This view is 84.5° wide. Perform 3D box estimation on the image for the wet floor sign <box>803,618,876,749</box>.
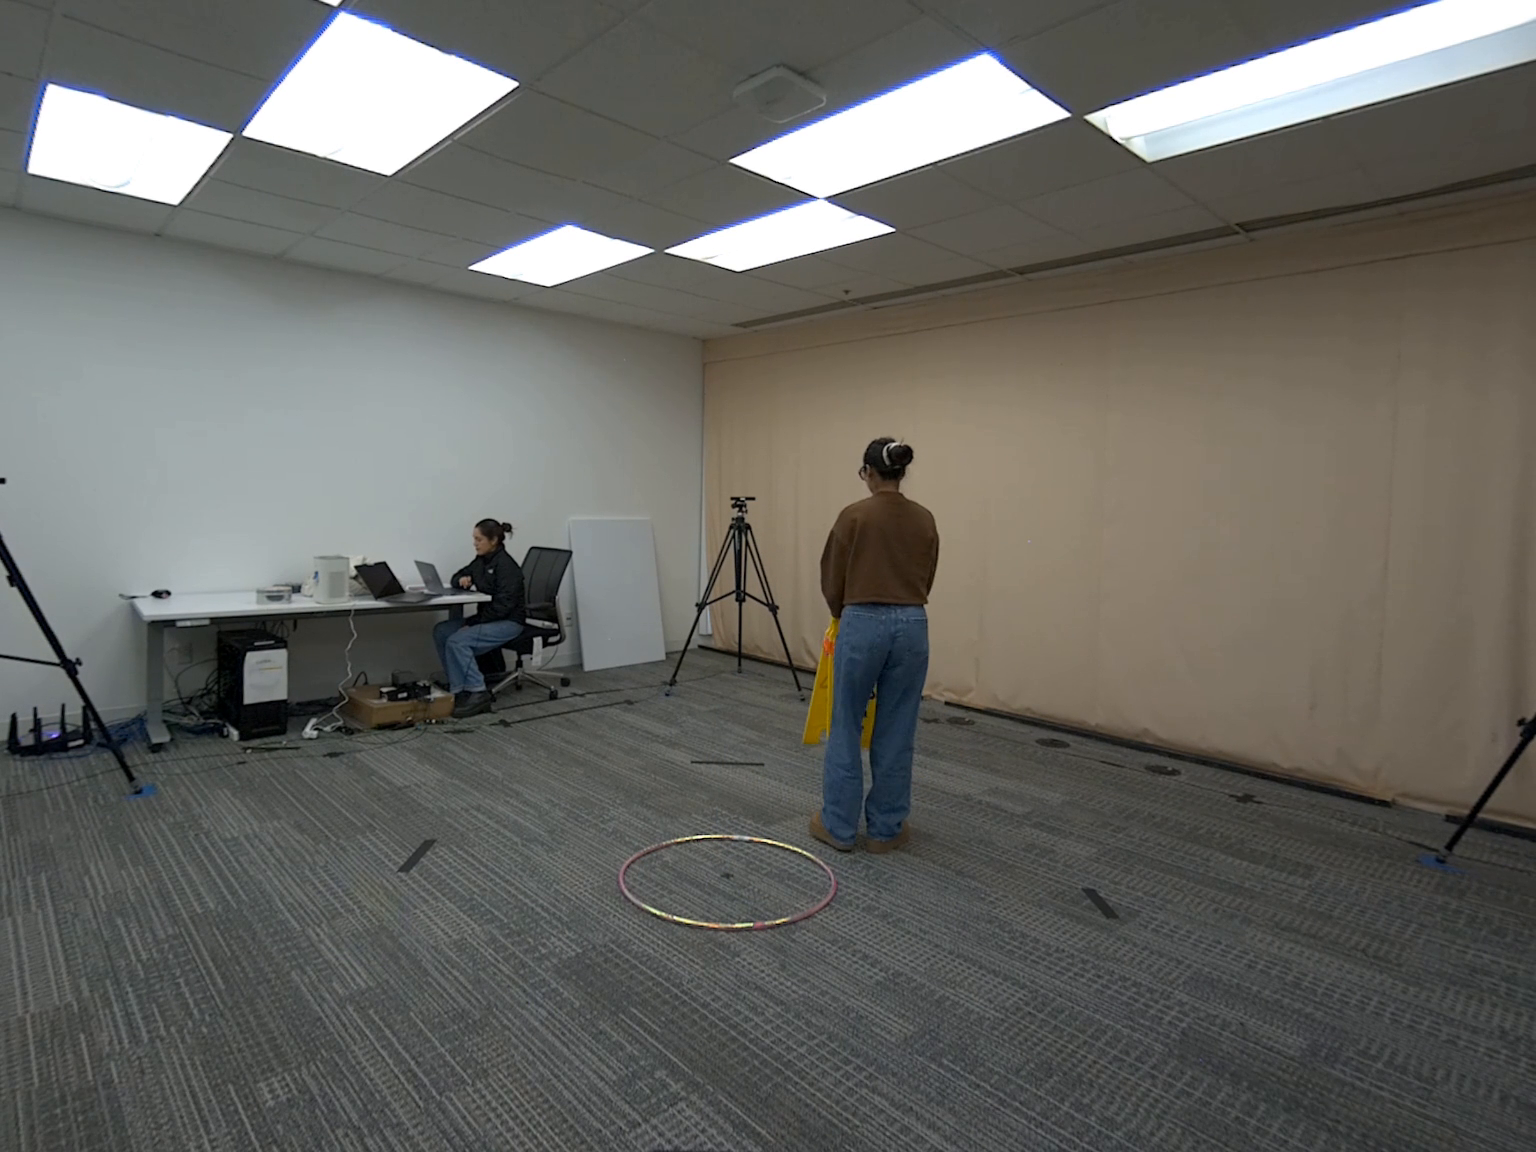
[{"bbox_3d":[0.348,0.477,3.693,0.278,0.642,0.296,0,9,-19],"label":"wet floor sign"}]
